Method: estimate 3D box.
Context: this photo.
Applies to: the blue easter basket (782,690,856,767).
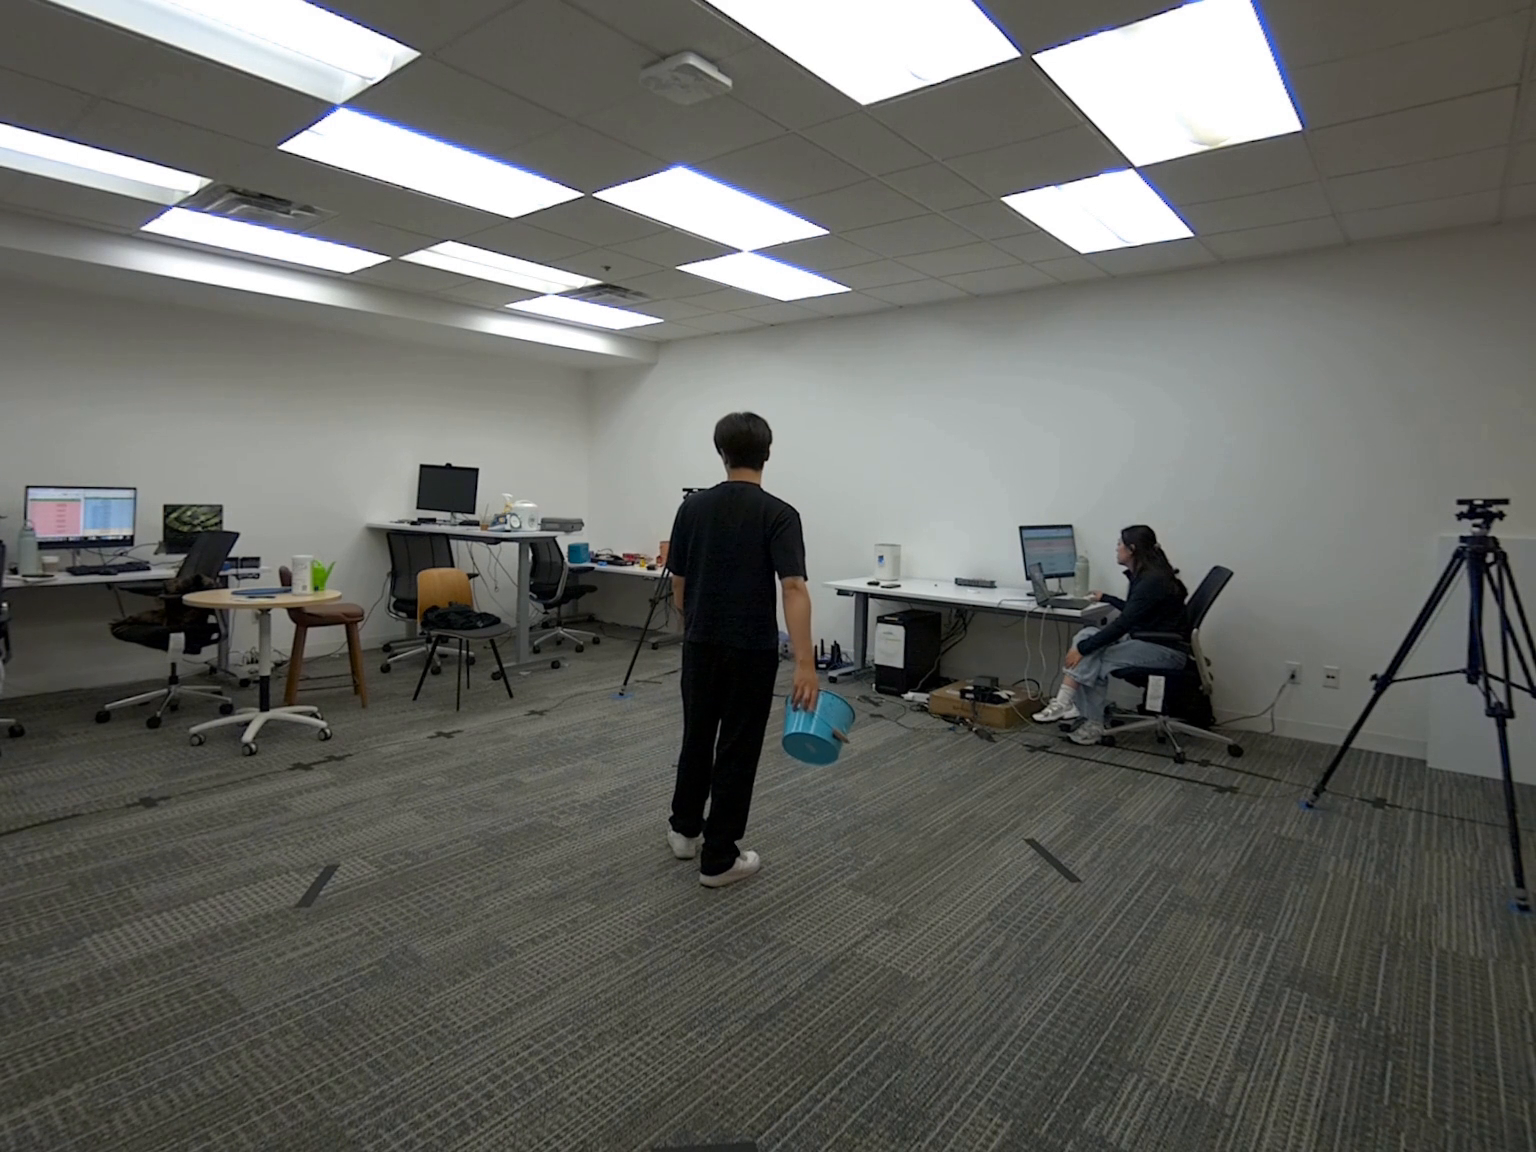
[{"bbox_3d":[0.145,0.481,2.722,0.249,0.235,0.158,3,46,21],"label":"blue easter basket"}]
